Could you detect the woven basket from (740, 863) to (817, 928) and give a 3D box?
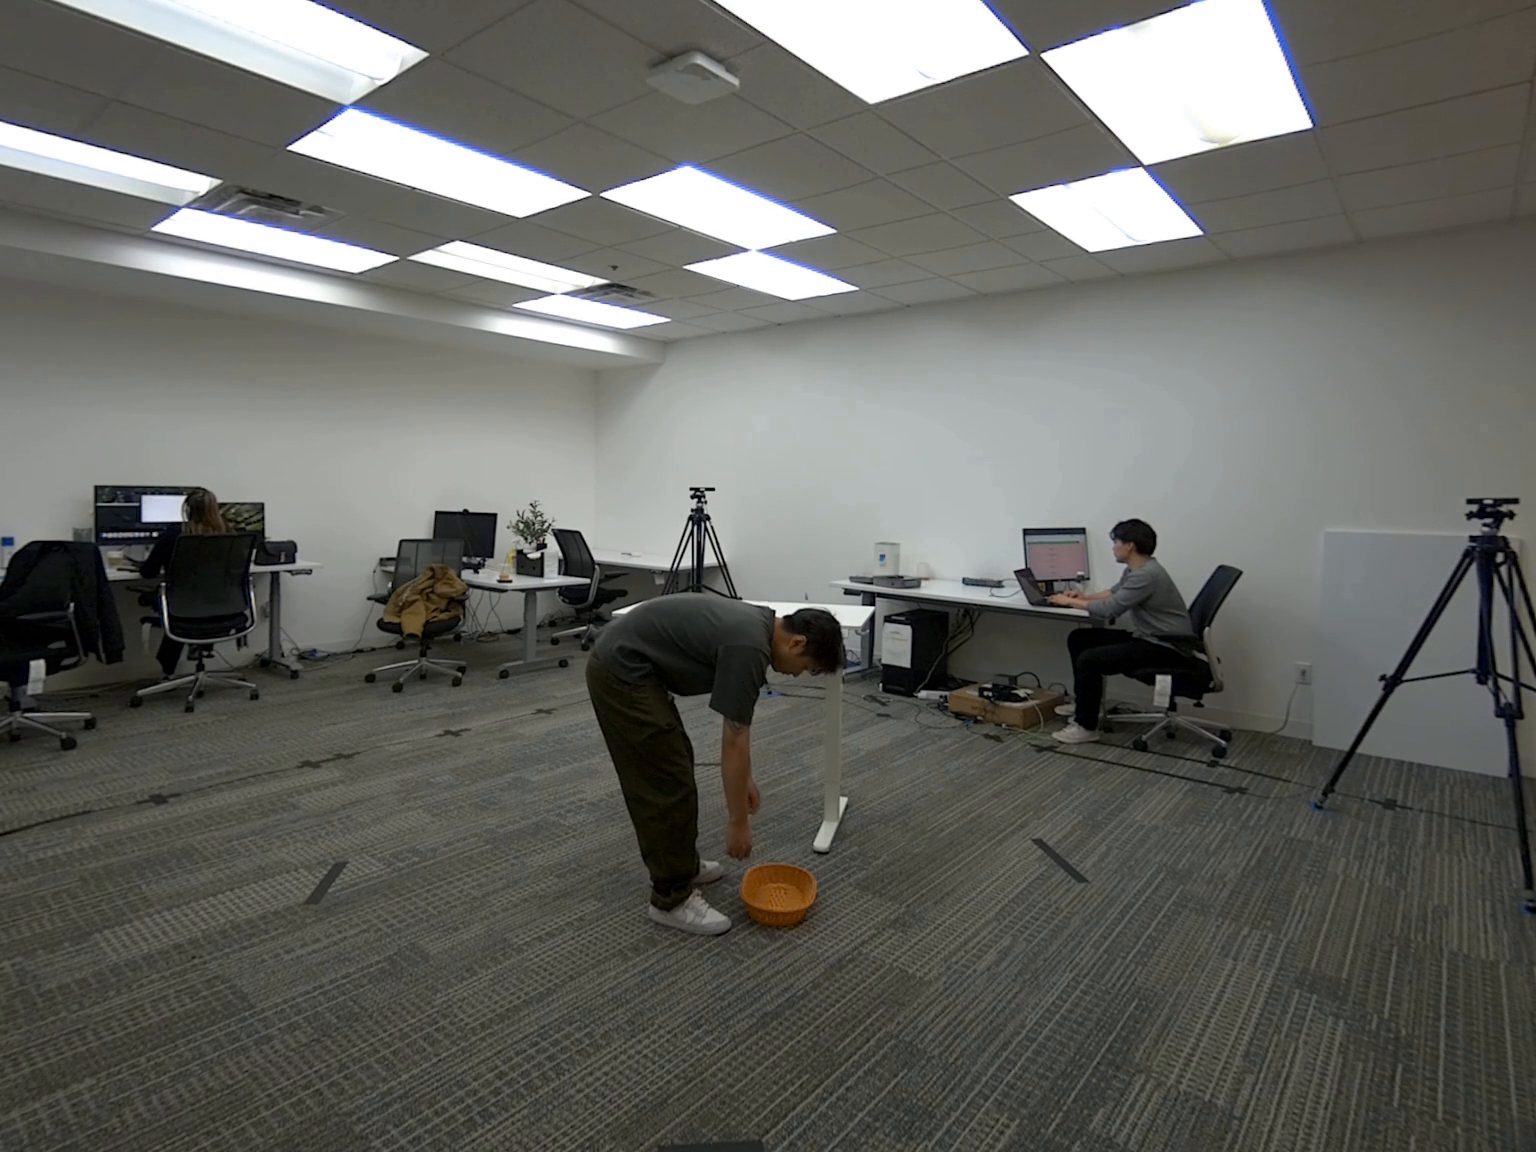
[{"bbox_3d":[0.025,1.064,2.835,0.256,0.073,0.346,3,6,12],"label":"woven basket"}]
